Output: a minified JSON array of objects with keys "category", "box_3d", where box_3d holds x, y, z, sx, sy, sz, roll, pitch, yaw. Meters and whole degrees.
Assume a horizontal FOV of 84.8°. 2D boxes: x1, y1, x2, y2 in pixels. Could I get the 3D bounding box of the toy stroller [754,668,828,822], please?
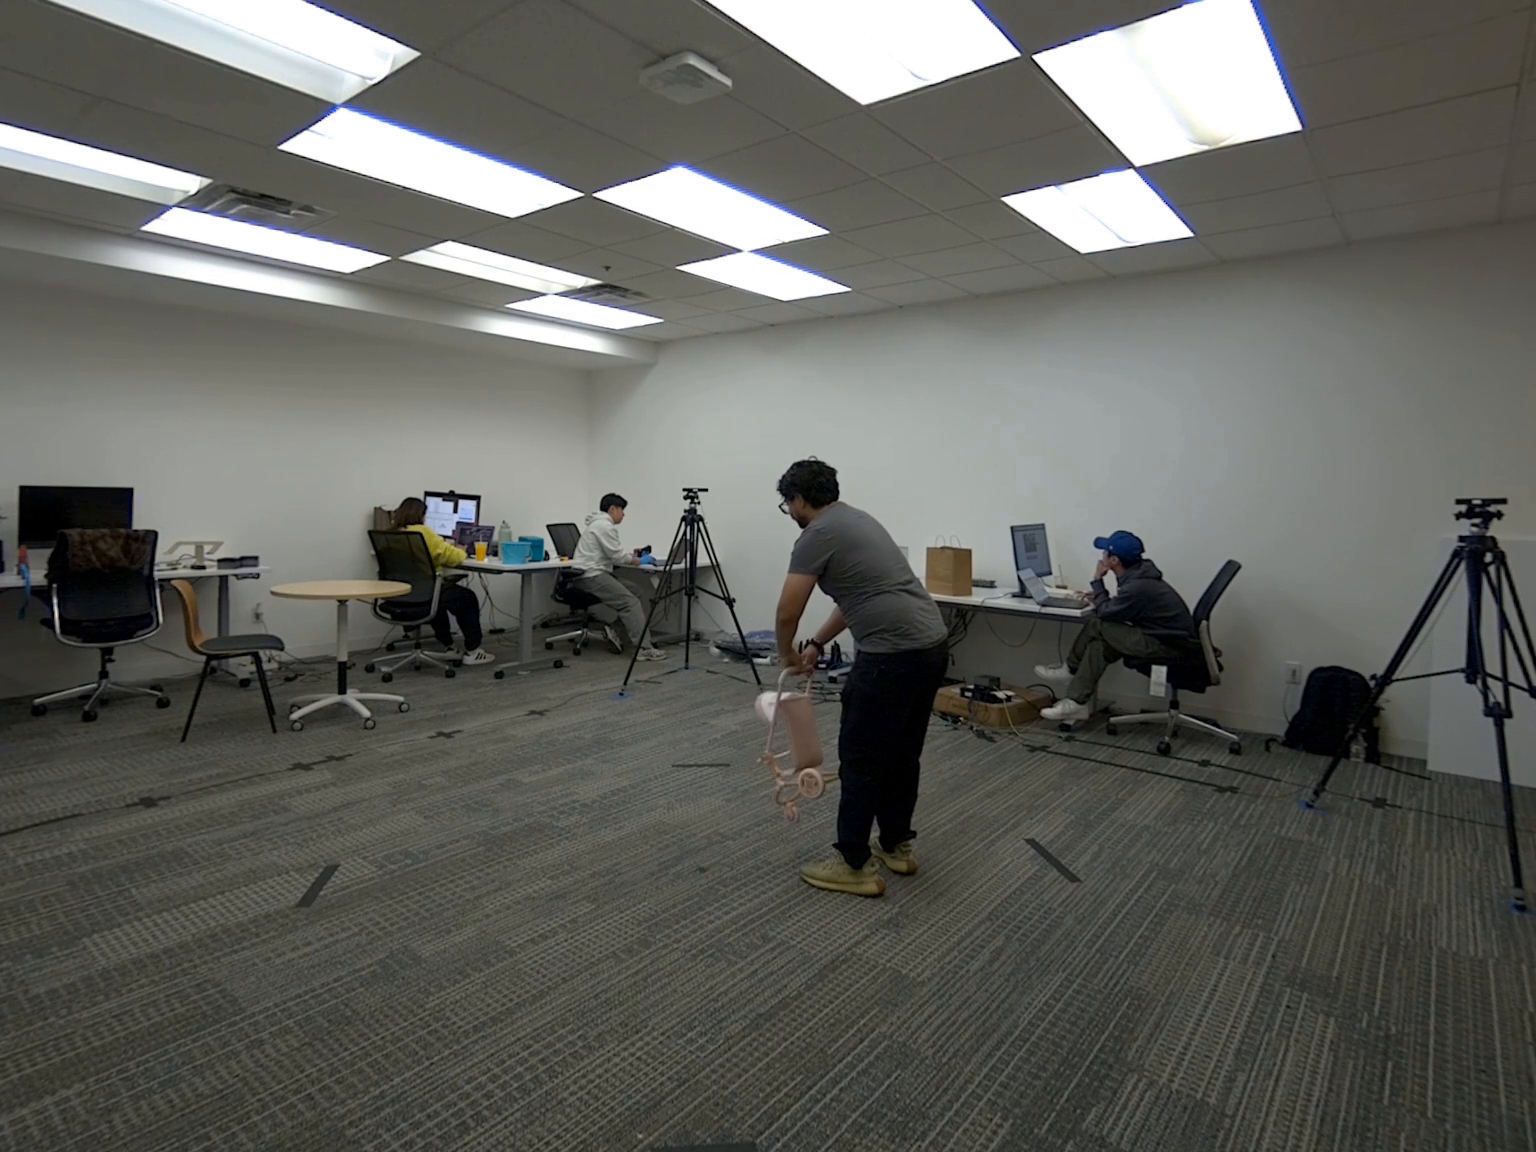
[{"category":"toy stroller","box_3d":[0.091,0.648,3.300,0.272,0.546,0.345,0,-25,-47]}]
